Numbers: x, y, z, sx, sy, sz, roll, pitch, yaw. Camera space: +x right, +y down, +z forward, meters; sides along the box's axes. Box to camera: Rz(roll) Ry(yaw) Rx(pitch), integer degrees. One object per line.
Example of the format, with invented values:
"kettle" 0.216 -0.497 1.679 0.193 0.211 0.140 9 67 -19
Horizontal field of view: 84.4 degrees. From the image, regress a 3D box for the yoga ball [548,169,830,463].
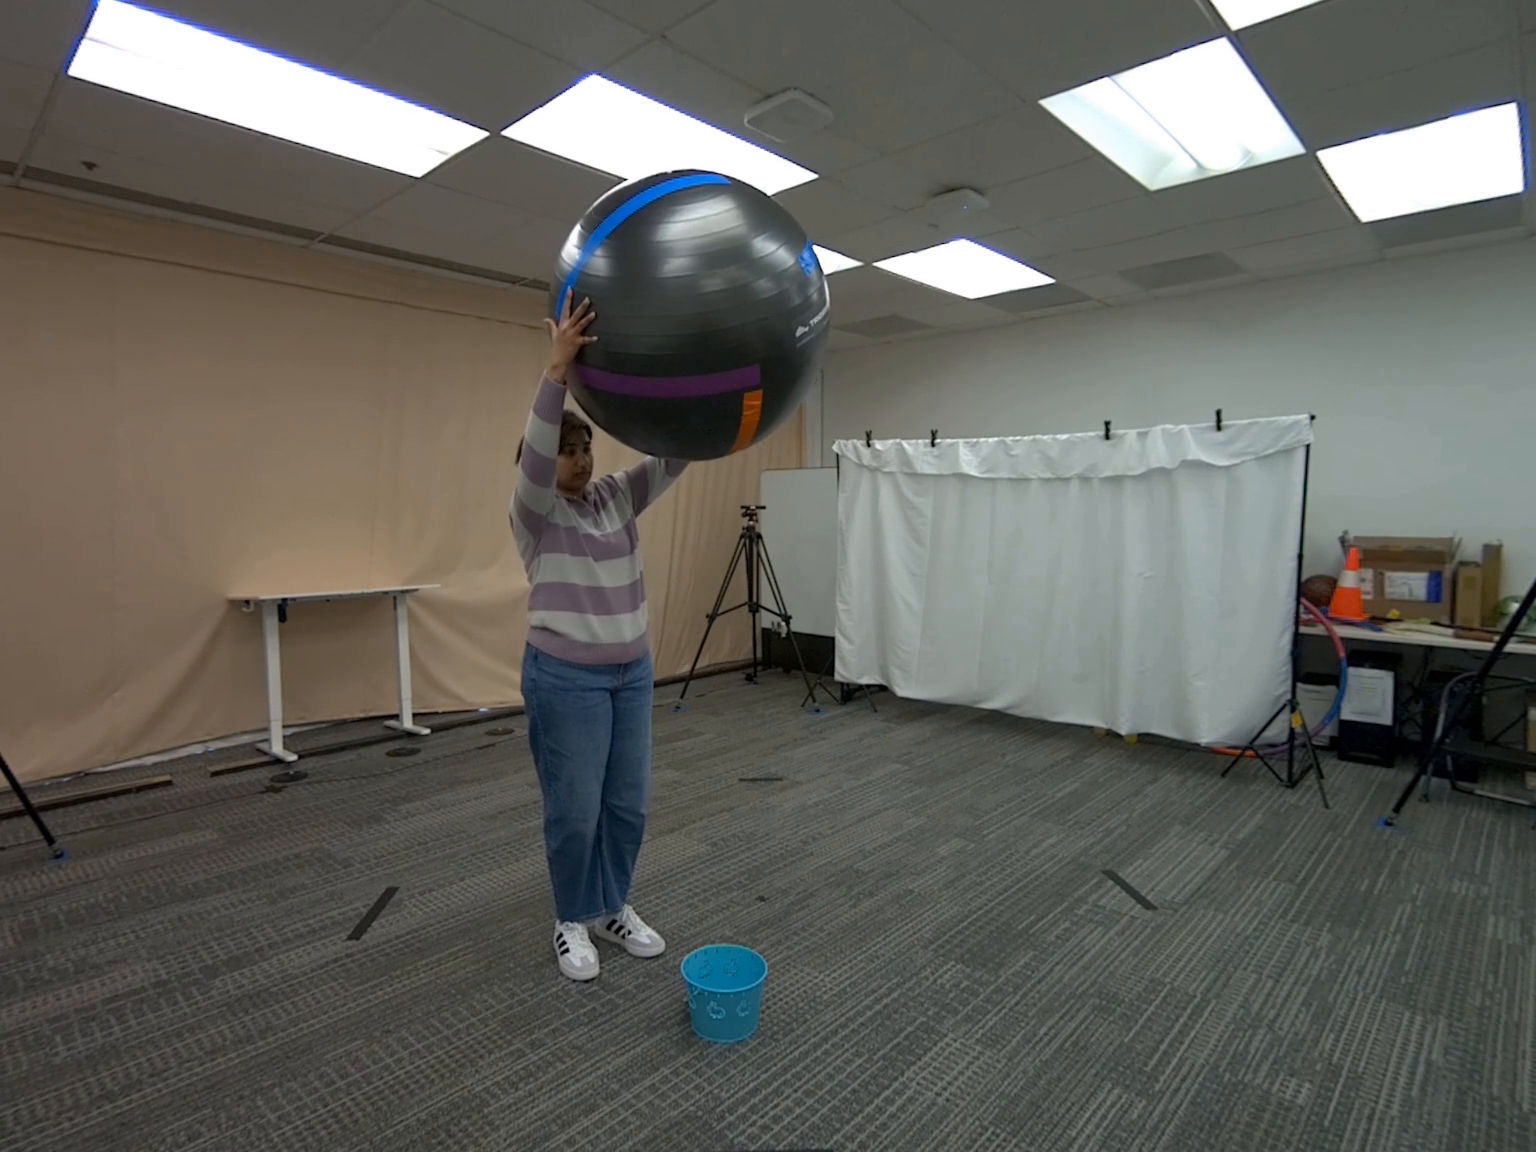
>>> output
"yoga ball" -0.210 -0.682 2.273 0.757 0.756 0.761 0 4 -2
